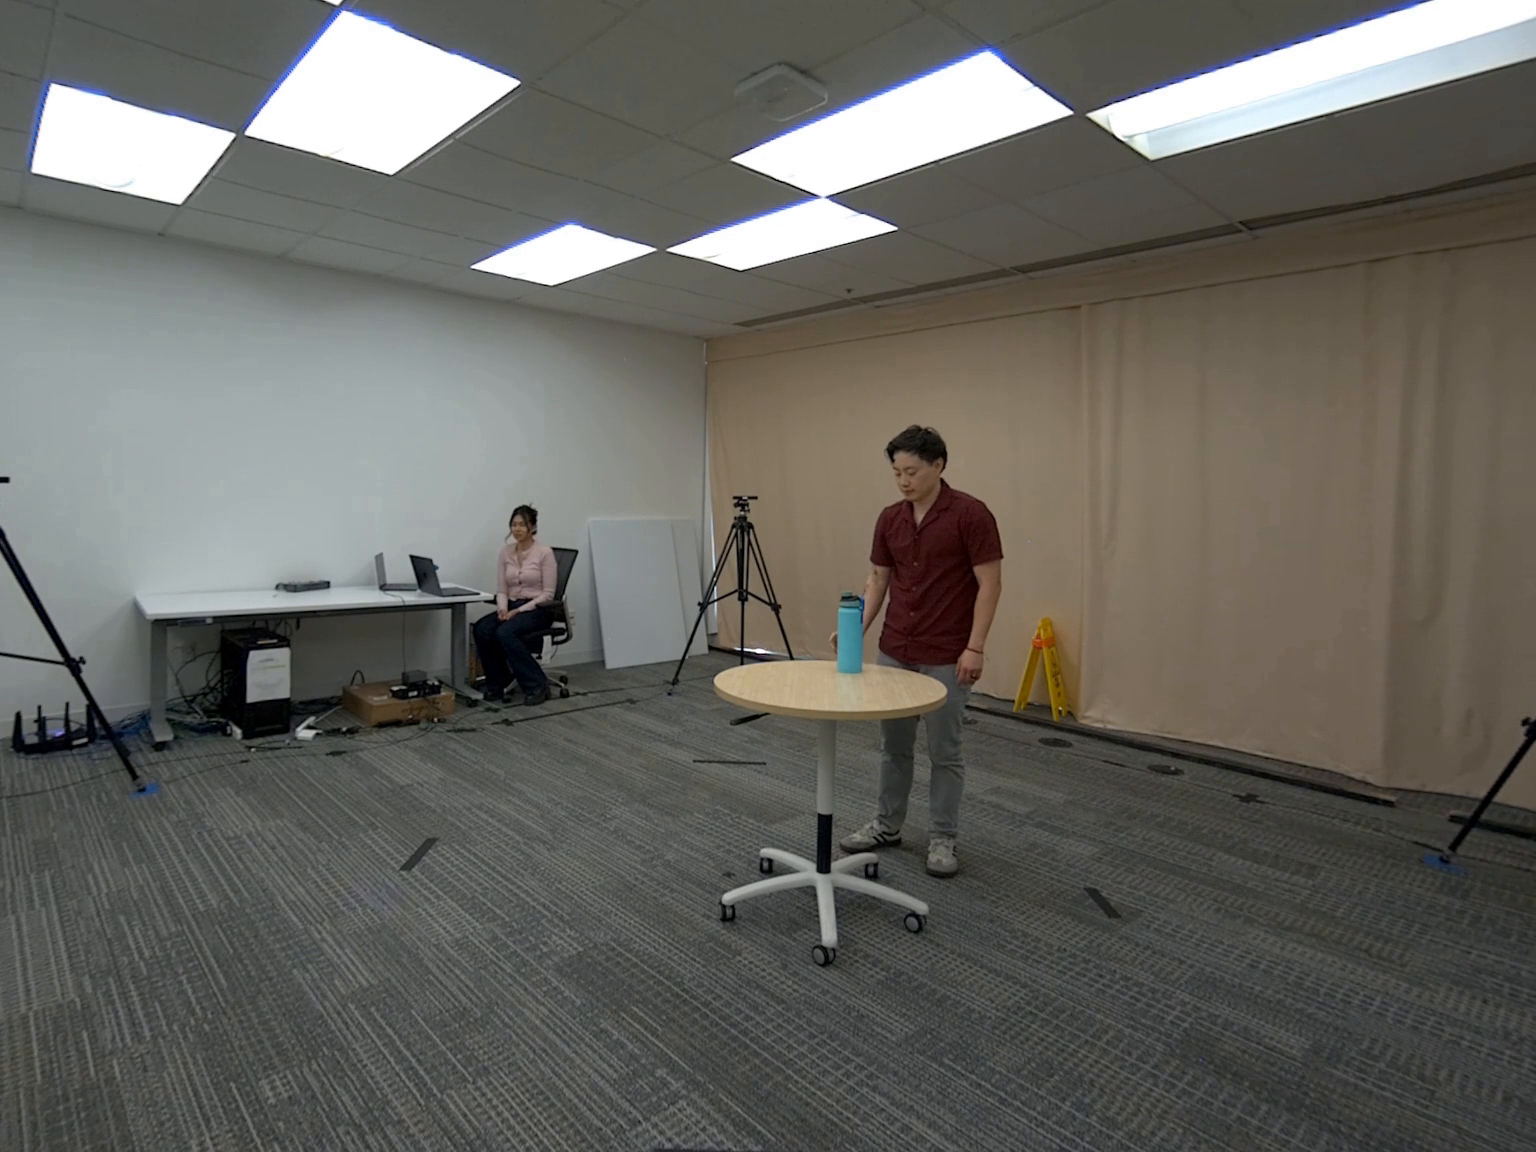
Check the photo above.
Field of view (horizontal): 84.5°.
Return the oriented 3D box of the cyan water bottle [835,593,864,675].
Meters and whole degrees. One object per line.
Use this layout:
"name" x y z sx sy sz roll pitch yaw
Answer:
"cyan water bottle" 0.292 0.199 2.994 0.092 0.283 0.092 1 2 -1
